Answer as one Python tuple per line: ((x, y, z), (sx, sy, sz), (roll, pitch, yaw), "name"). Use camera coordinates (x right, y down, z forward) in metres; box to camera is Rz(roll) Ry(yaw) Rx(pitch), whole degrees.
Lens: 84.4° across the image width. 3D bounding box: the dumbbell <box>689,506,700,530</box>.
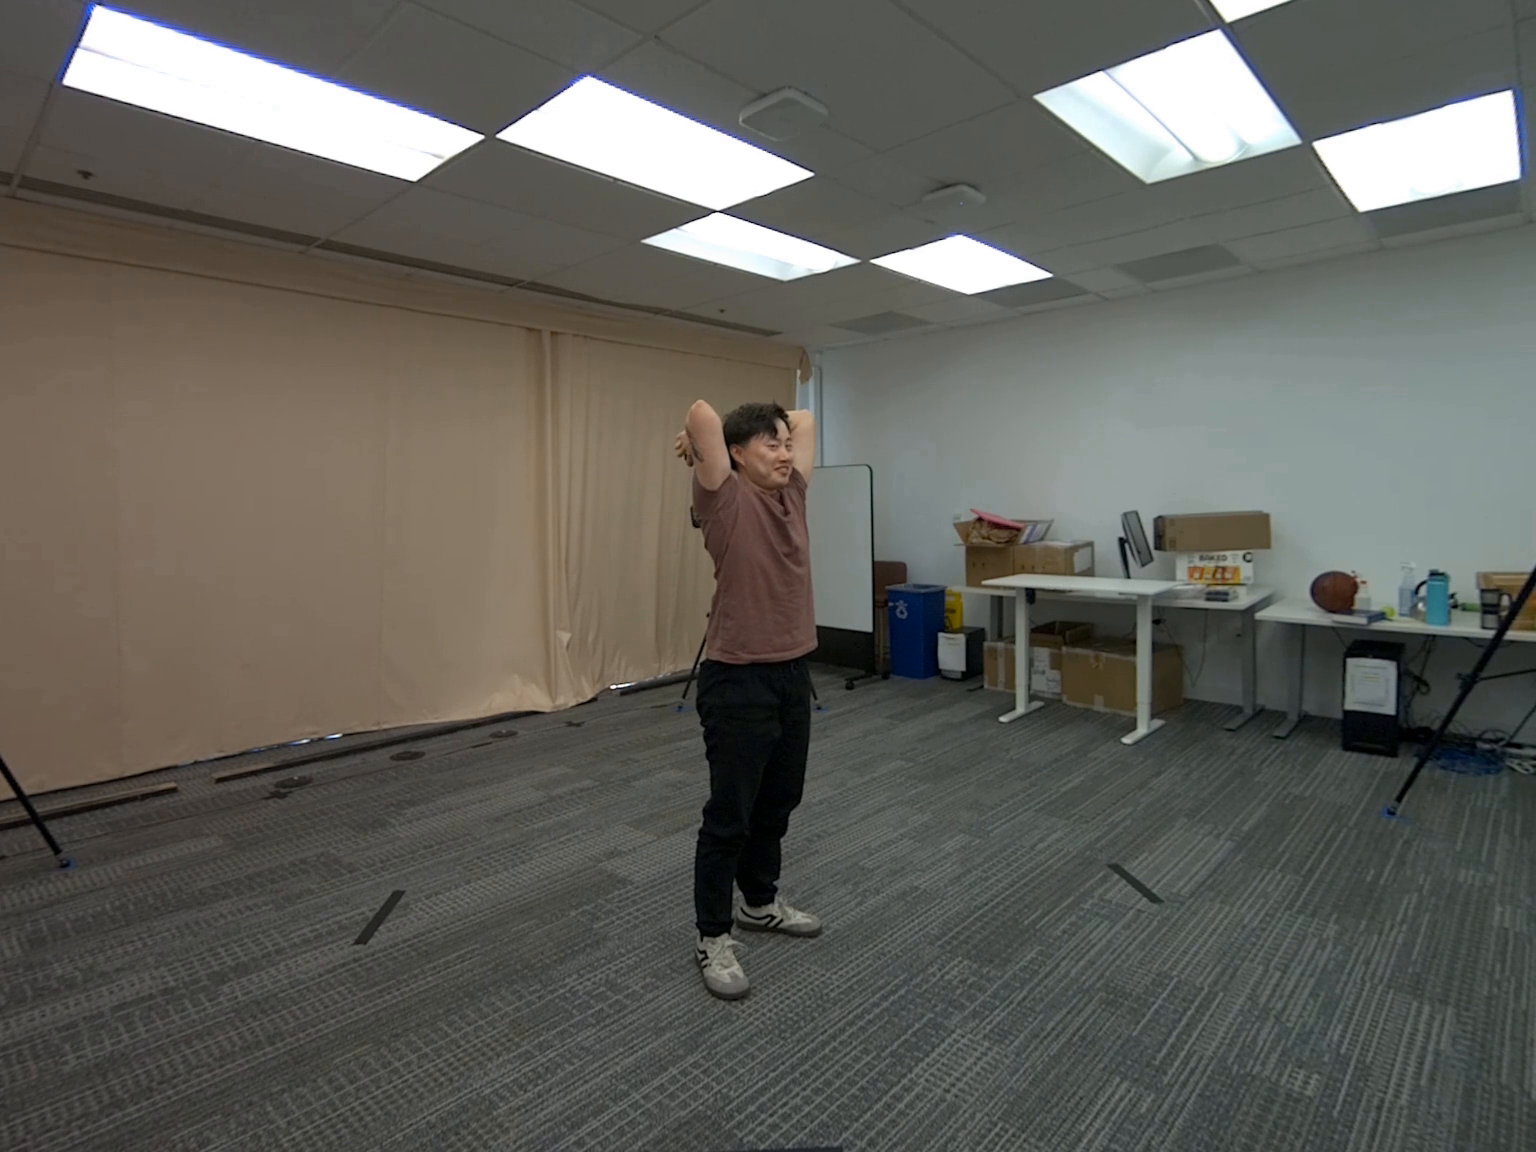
((-0.182, -0.318, 2.697), (0.127, 0.293, 0.105), (-3, 3, 44), "dumbbell")
